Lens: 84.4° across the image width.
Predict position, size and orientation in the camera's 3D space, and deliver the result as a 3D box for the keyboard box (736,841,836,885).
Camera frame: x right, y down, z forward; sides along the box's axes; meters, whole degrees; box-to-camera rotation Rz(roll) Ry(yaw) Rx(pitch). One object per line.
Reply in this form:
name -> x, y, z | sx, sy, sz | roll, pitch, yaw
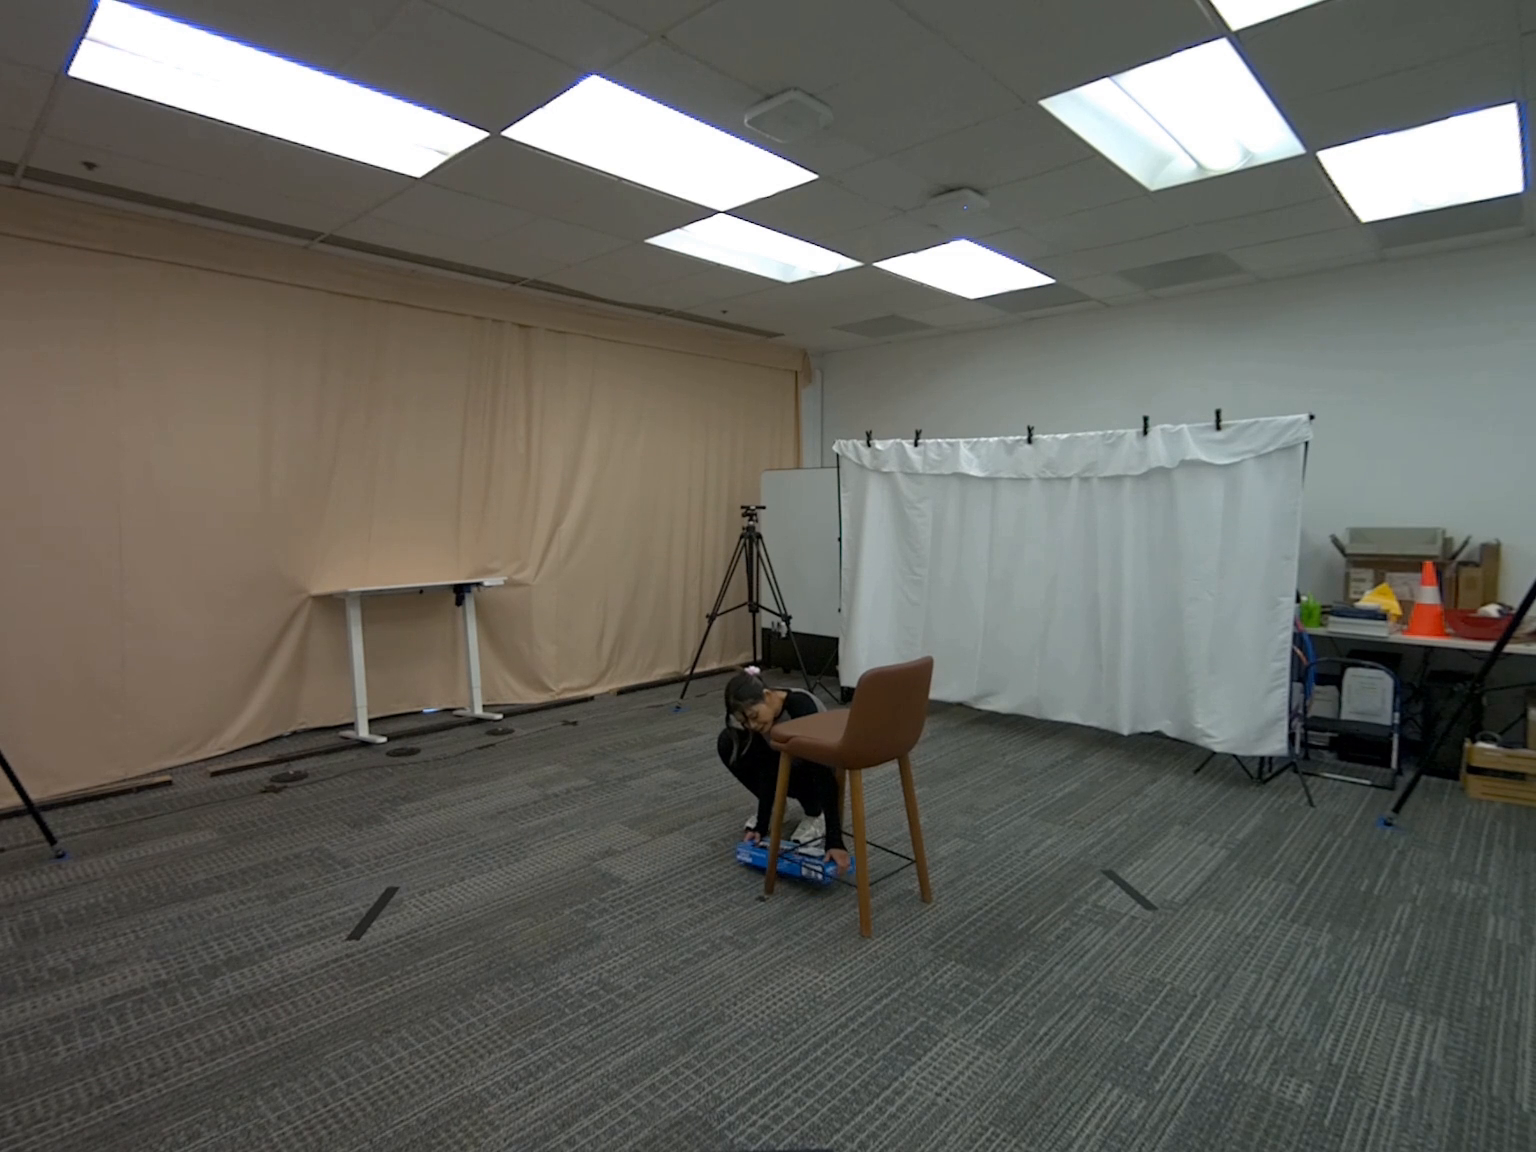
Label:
keyboard box -> 0.099, 1.054, 3.154 | 0.450, 0.059, 0.170 | -3, -2, 45
